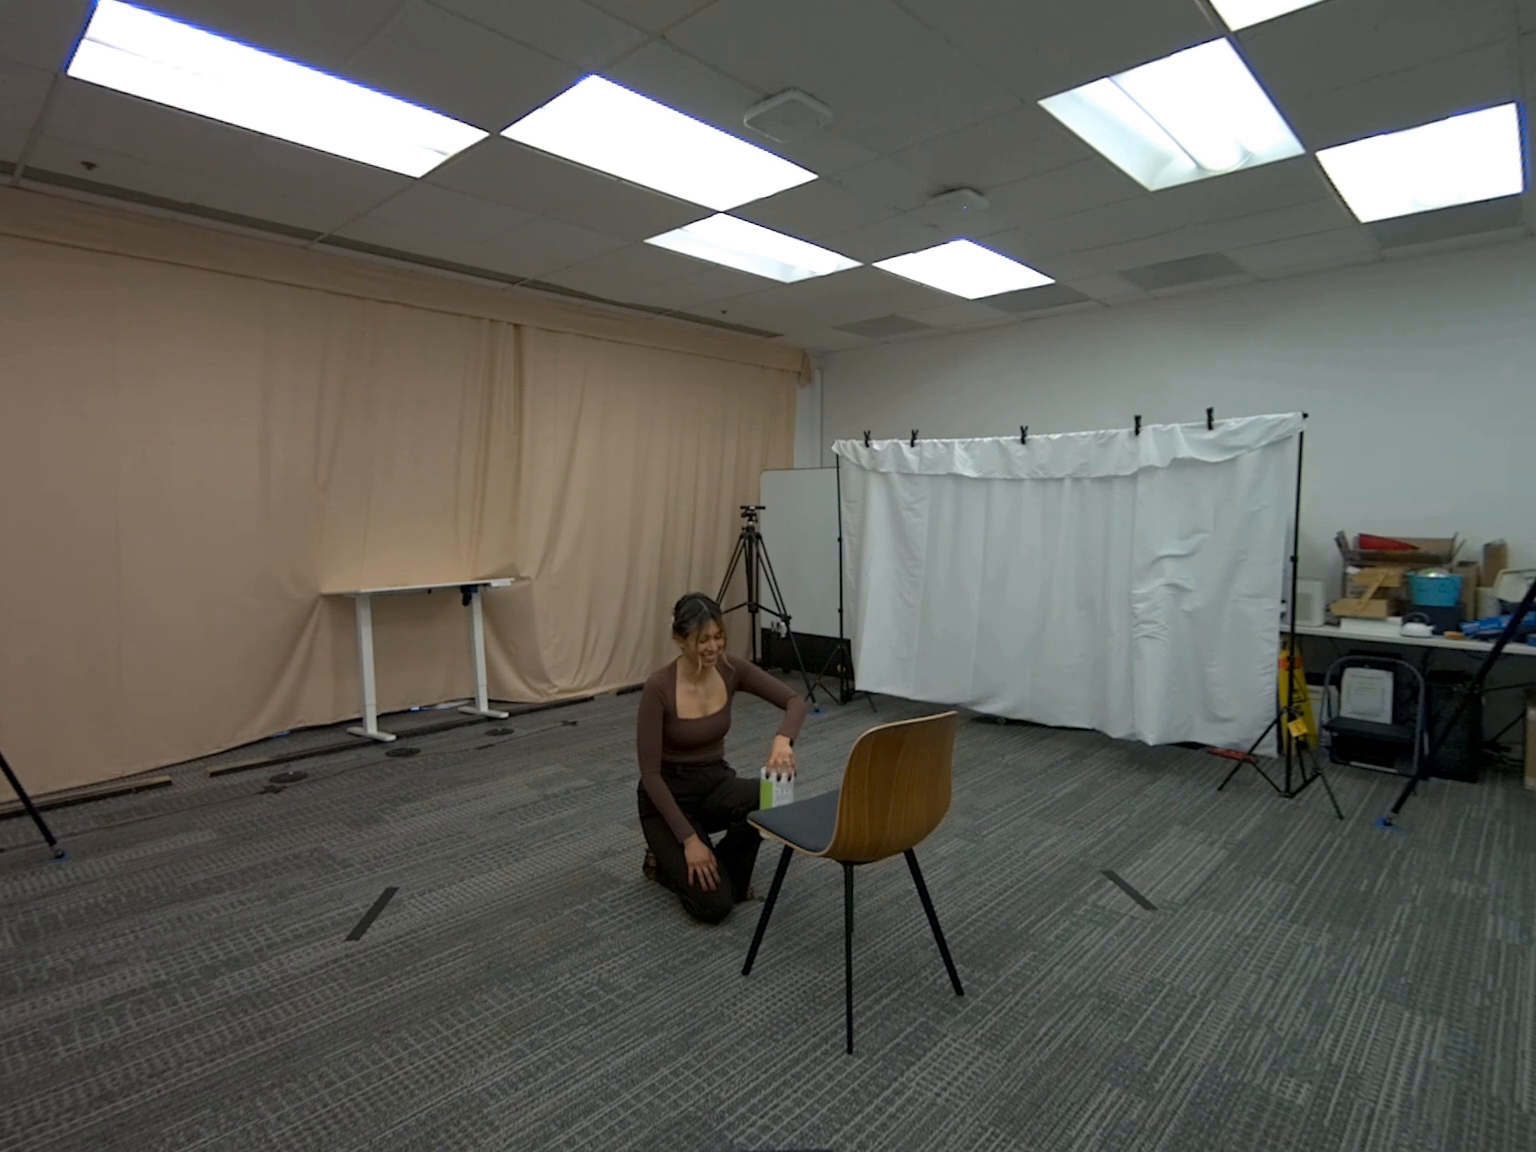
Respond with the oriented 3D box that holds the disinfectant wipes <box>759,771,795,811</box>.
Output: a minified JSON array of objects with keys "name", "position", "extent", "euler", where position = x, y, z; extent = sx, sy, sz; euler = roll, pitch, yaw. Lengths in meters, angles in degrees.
[{"name":"disinfectant wipes","position":[0.038,0.733,2.730],"extent":[0.118,0.217,0.118],"euler":[-1,2,-2]}]
